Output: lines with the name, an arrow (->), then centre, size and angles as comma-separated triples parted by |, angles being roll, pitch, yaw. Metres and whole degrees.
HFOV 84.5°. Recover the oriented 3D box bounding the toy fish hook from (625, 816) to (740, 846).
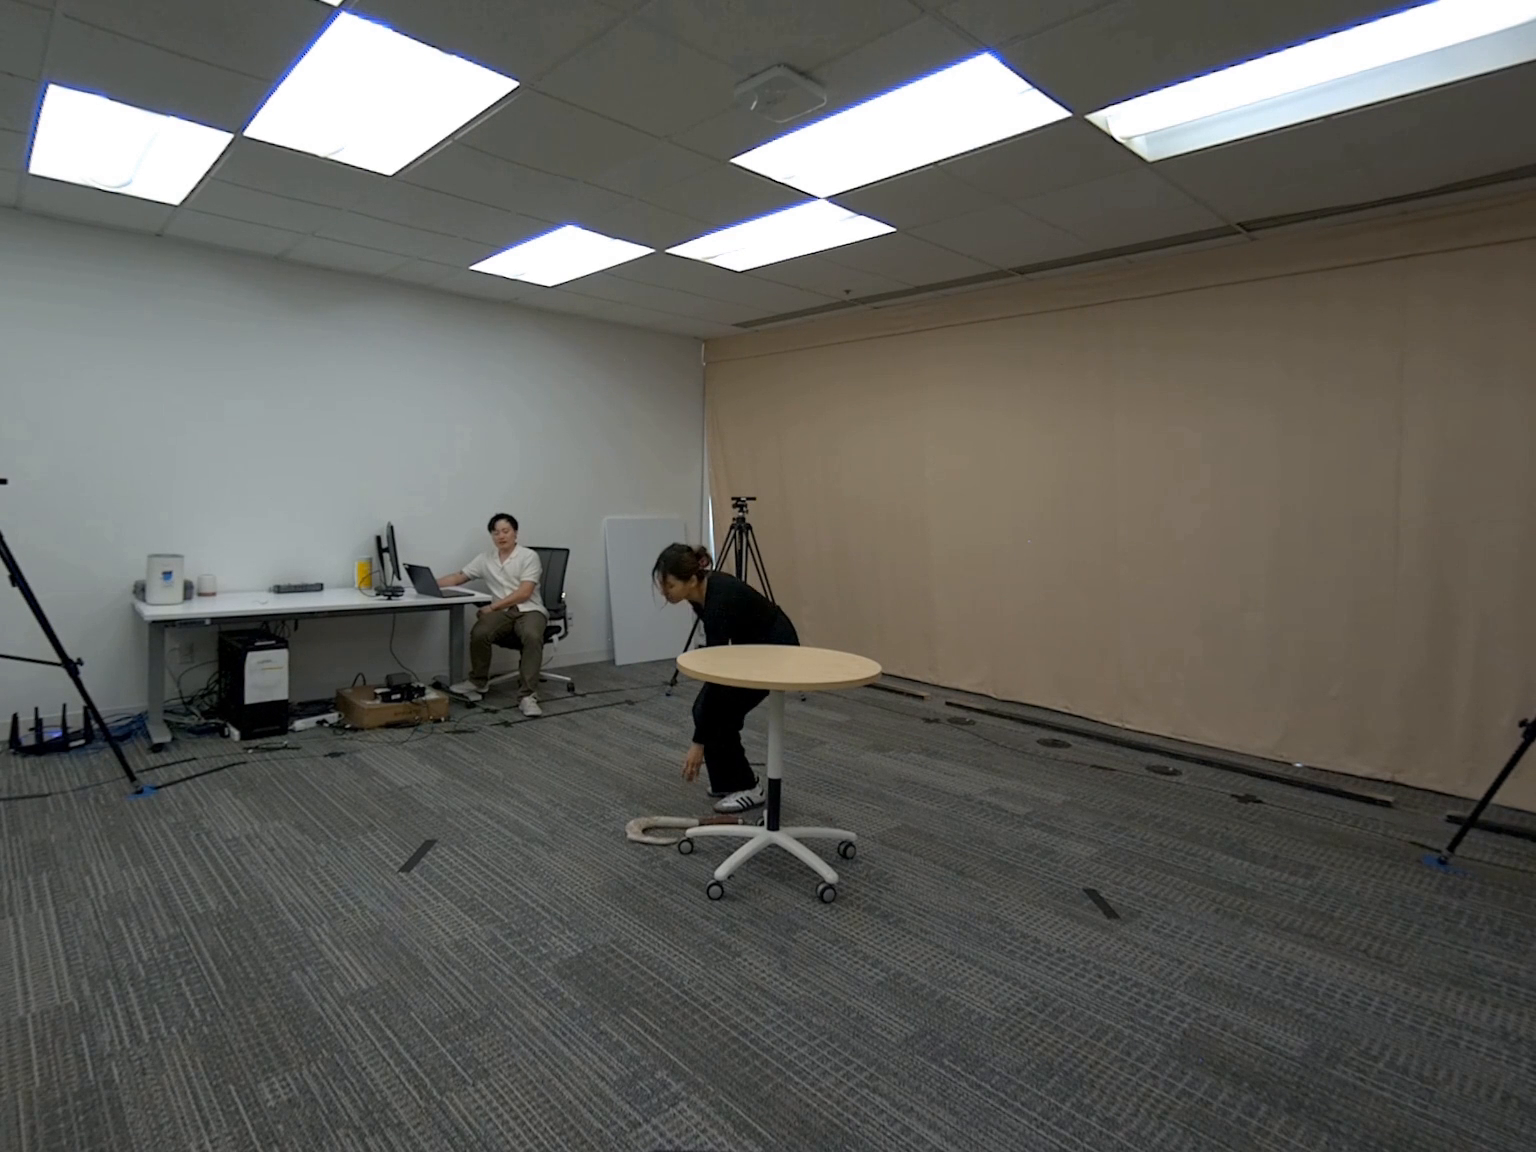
toy fish hook -> -0.341, 1.048, 3.490 | 0.501, 0.048, 0.229 | 0, 12, -14
